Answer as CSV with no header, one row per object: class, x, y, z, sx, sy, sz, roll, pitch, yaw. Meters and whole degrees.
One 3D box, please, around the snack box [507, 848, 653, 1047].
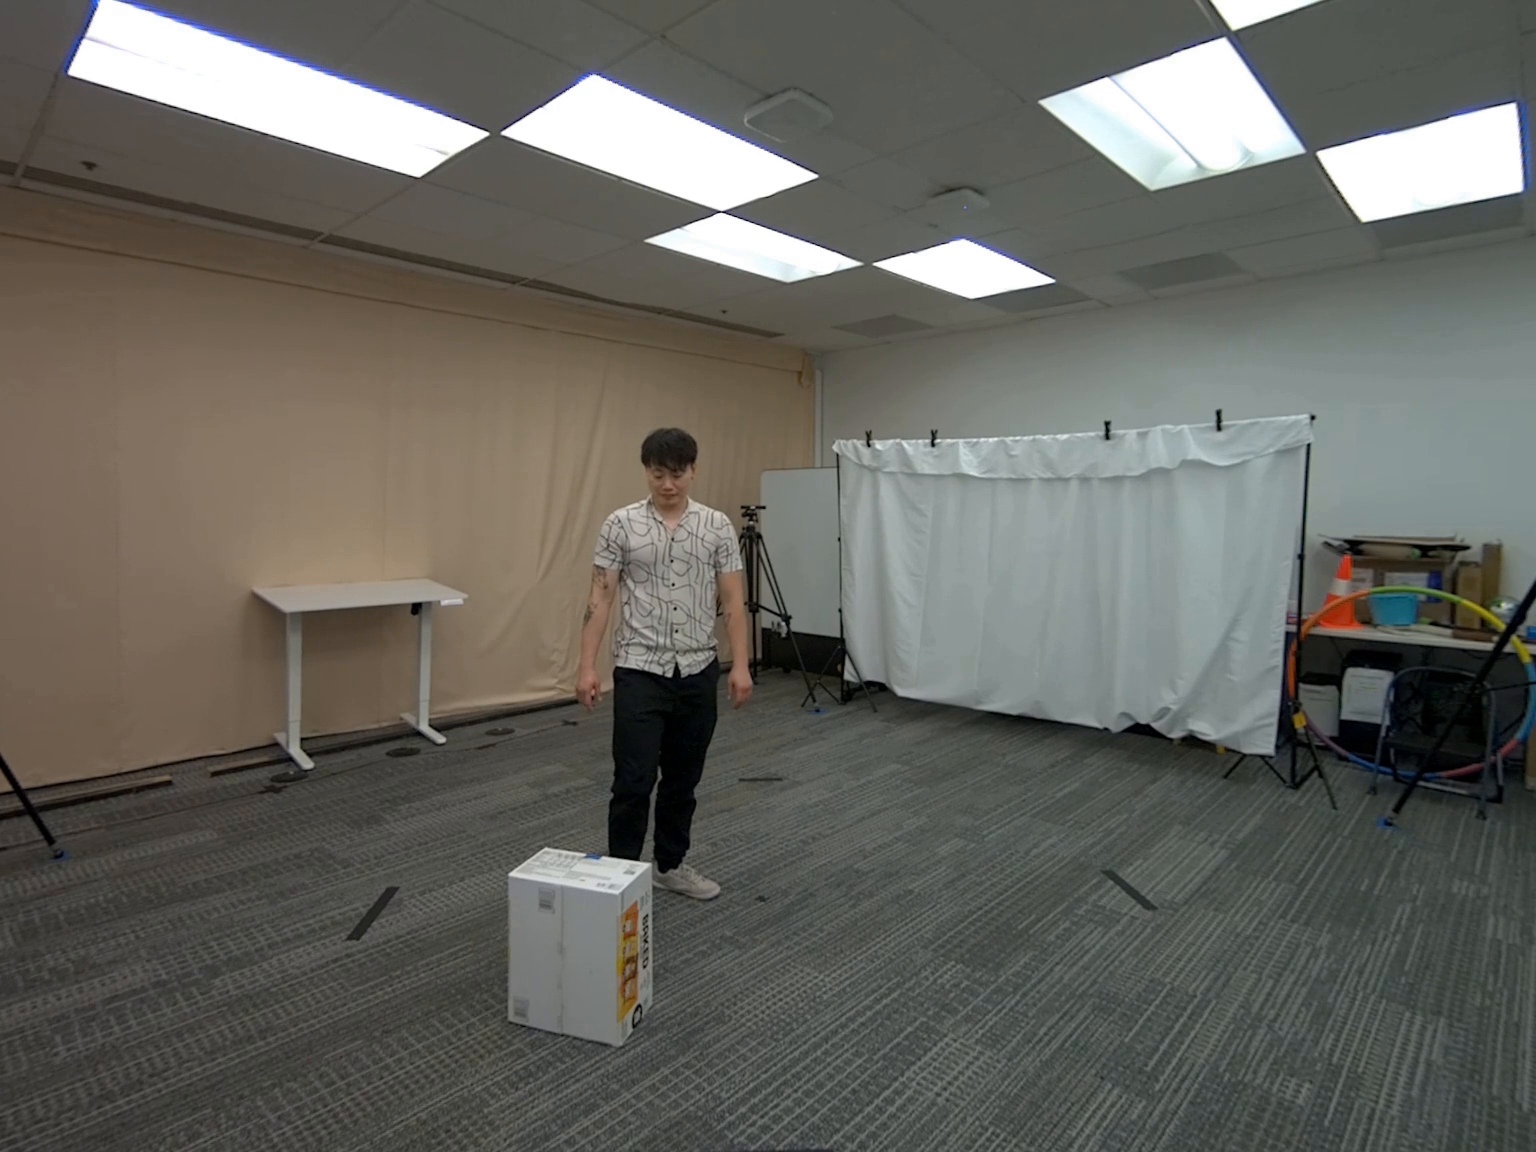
snack box,-0.514,0.997,2.303,0.347,0.404,0.202,1,3,18
